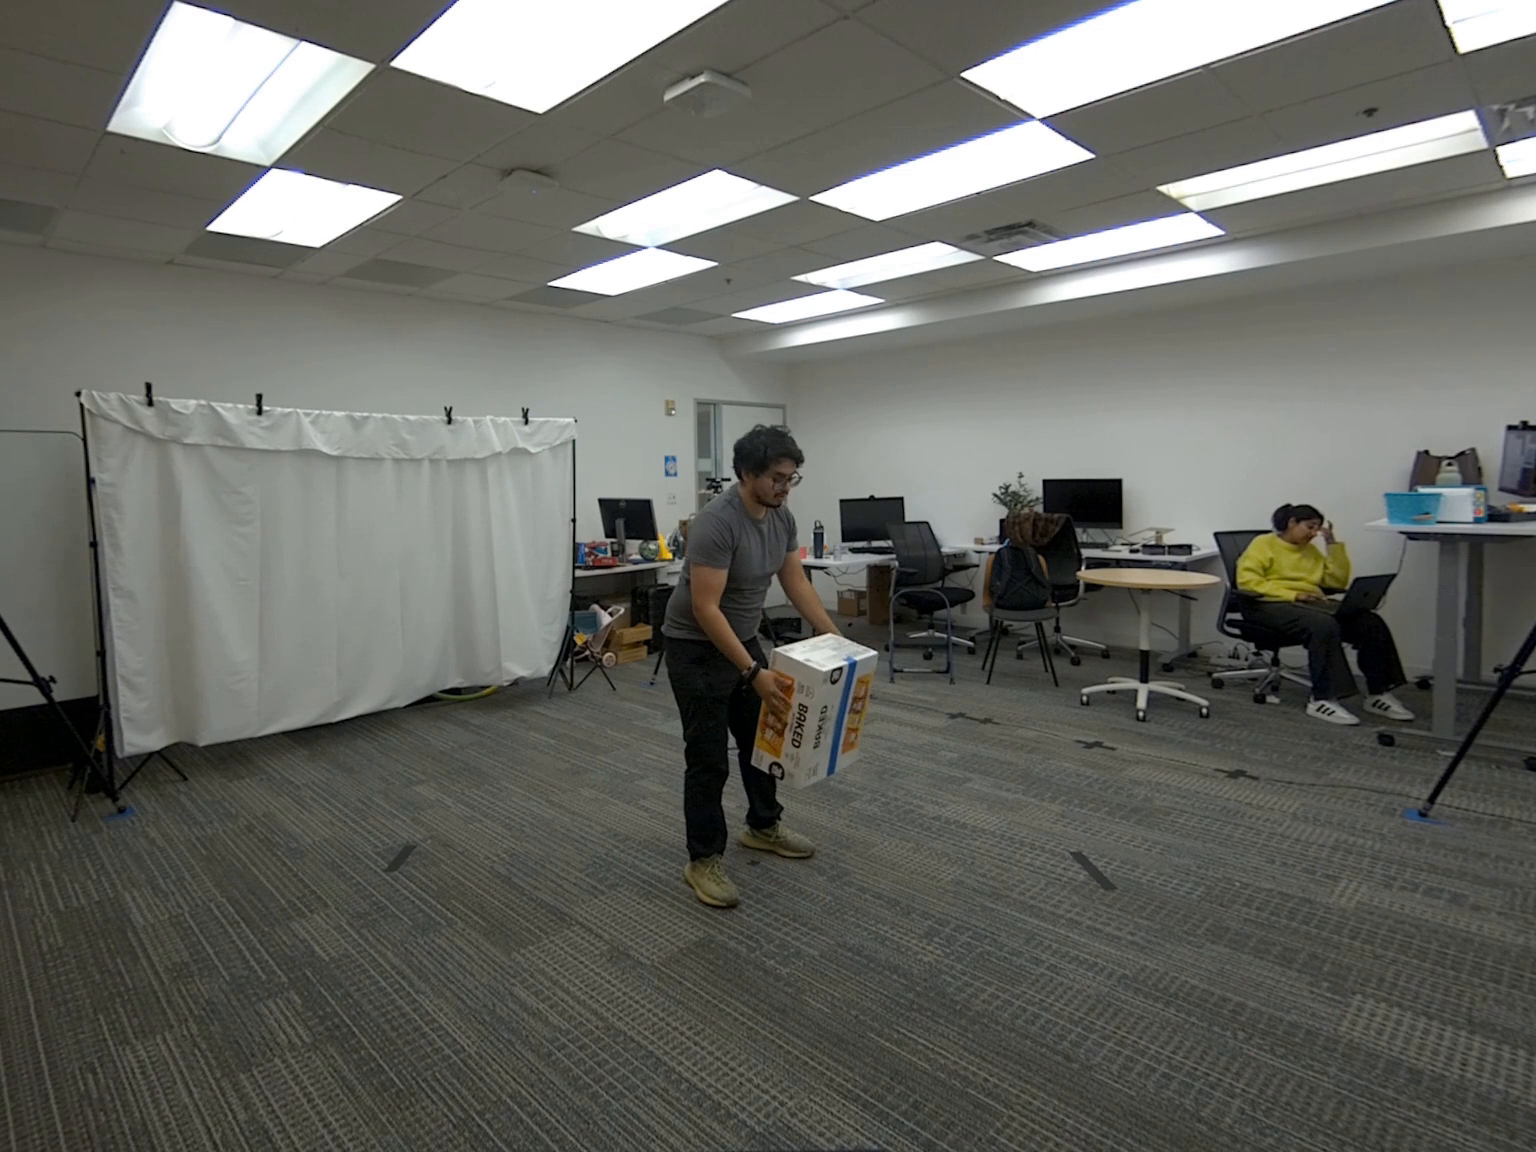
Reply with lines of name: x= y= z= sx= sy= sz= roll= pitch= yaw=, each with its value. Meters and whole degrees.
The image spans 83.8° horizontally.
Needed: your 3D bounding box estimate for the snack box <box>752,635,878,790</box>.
snack box: x=0.157 y=0.434 z=2.810 sx=0.213 sy=0.401 sz=0.332 roll=18 pitch=16 yaw=36
